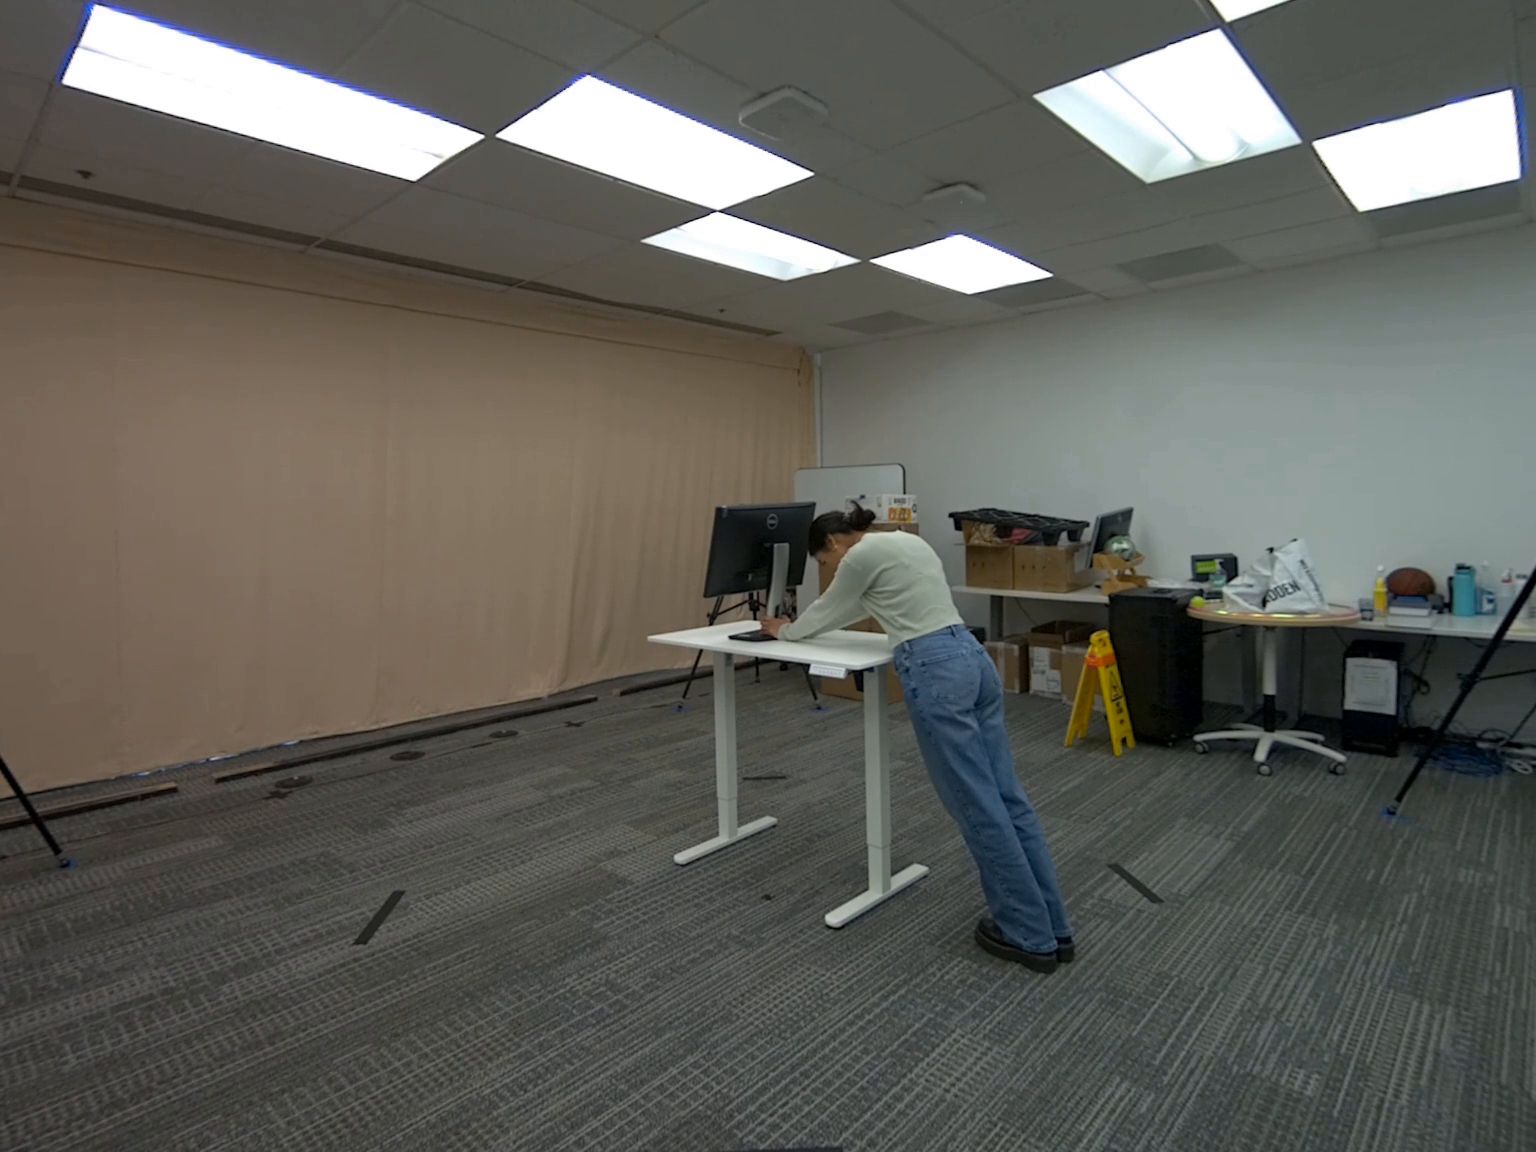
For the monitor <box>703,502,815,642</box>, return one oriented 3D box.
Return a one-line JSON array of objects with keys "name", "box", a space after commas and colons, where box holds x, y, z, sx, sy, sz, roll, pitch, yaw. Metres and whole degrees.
[{"name": "monitor", "box": [0.002, -0.018, 3.250, 0.193, 0.521, 0.523, 4, 7, 43]}]
